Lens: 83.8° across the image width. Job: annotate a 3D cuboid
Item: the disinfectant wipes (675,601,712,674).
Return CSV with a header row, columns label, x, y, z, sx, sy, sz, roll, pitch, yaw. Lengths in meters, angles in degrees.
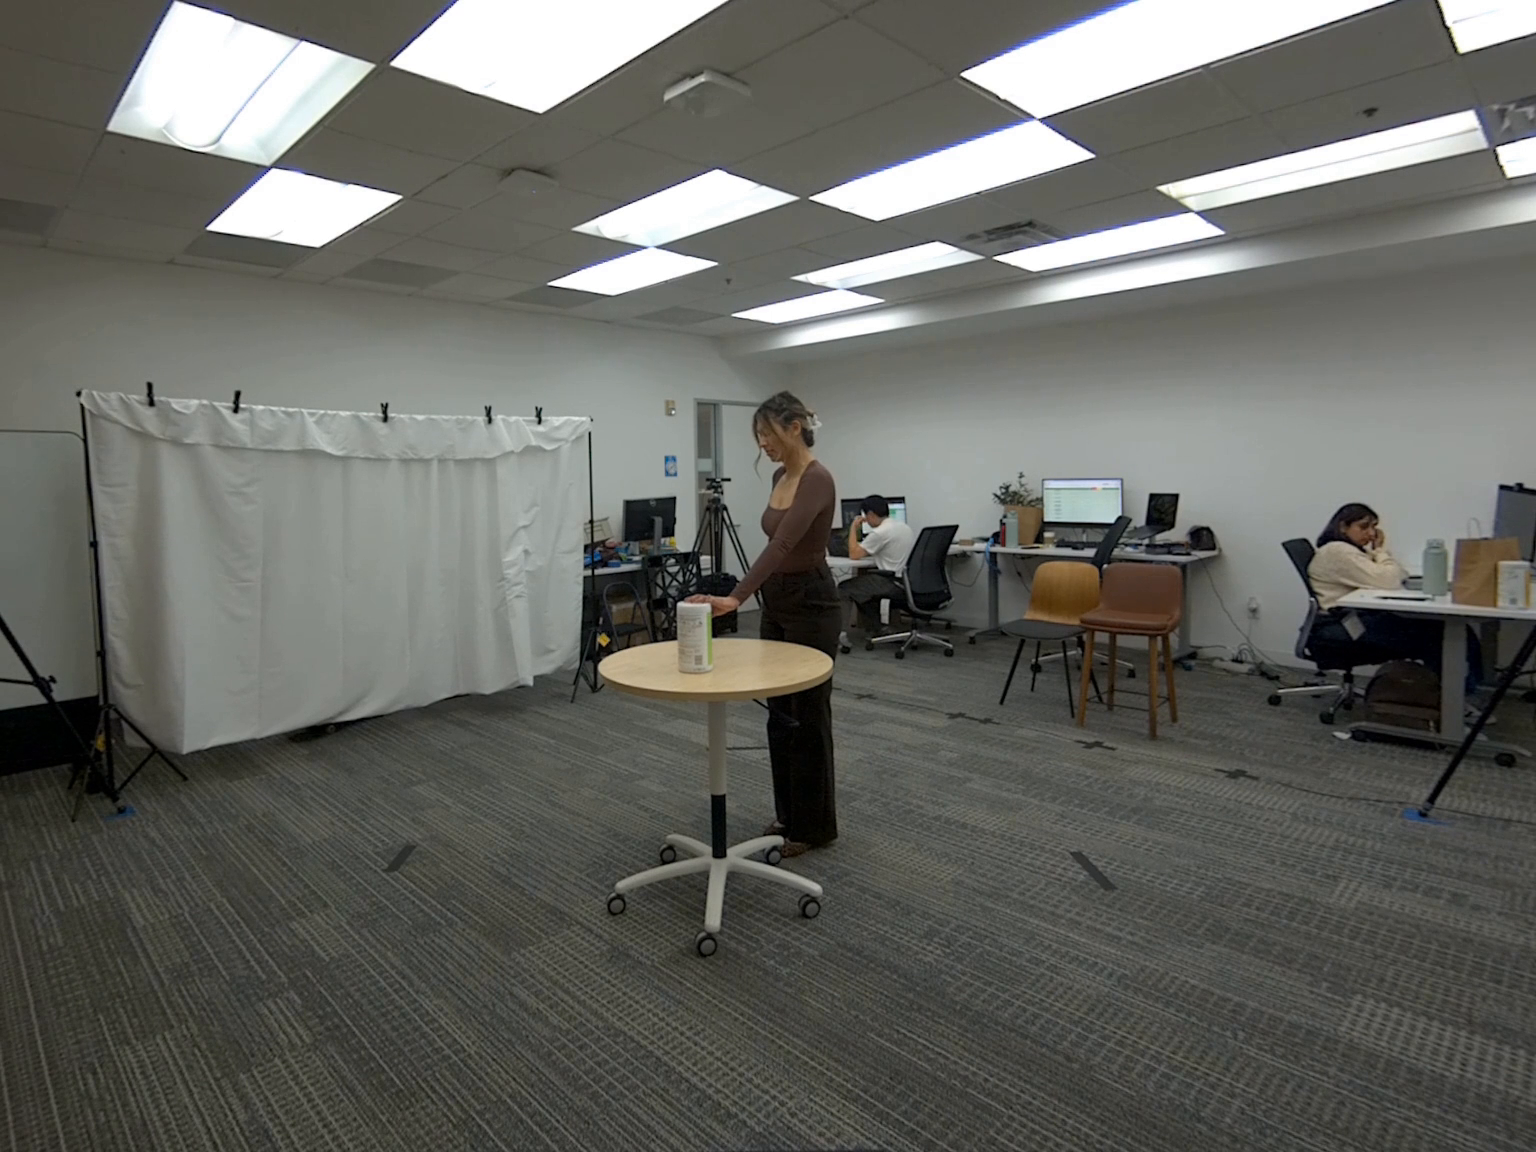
label,x,y,z,sx,sy,sz,roll,pitch,yaw
disinfectant wipes,-0.228,0.190,2.684,0.118,0.217,0.118,0,3,-2
